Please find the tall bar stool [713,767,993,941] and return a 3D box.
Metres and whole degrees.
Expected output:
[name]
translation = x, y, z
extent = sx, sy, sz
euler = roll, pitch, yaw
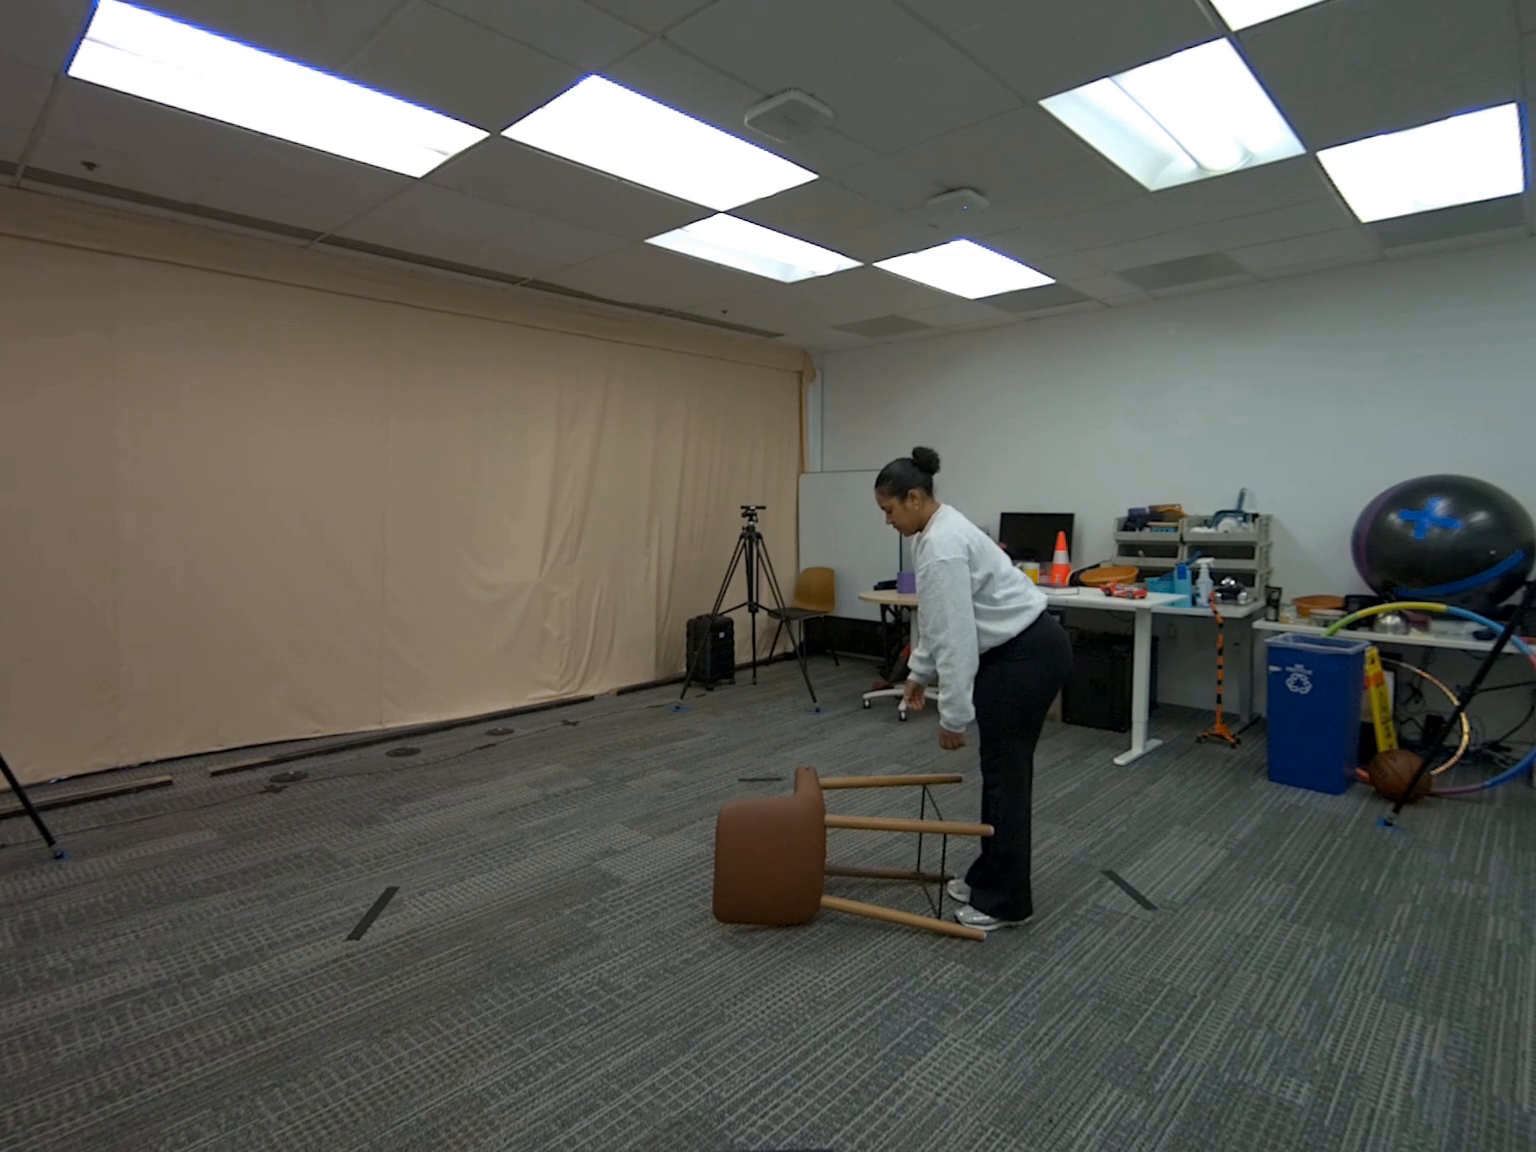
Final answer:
[tall bar stool]
translation = 0.269, 0.941, 2.909
extent = 0.891, 0.455, 0.469
euler = 2, 6, 1
